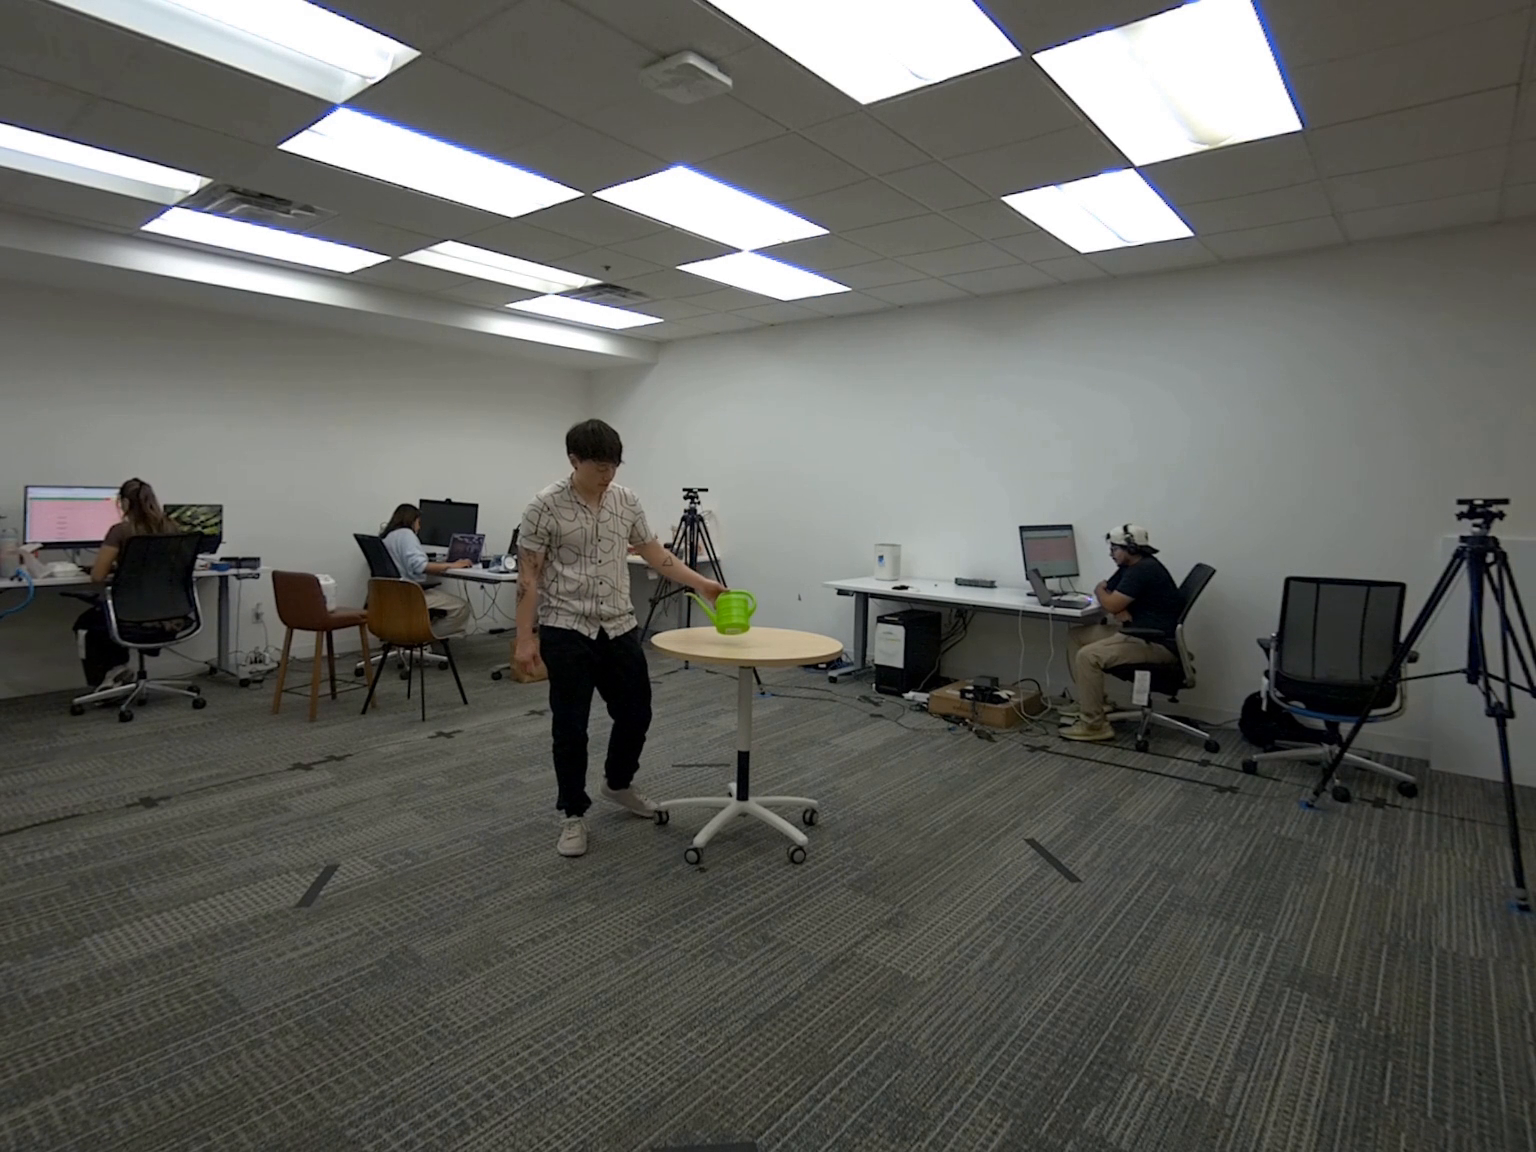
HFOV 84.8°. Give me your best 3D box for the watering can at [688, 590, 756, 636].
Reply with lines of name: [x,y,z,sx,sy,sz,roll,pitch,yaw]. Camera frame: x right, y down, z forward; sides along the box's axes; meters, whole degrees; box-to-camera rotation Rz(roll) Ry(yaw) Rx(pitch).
watering can: [-0.198,0.140,3.364,0.281,0.181,0.094,-9,-32,11]
